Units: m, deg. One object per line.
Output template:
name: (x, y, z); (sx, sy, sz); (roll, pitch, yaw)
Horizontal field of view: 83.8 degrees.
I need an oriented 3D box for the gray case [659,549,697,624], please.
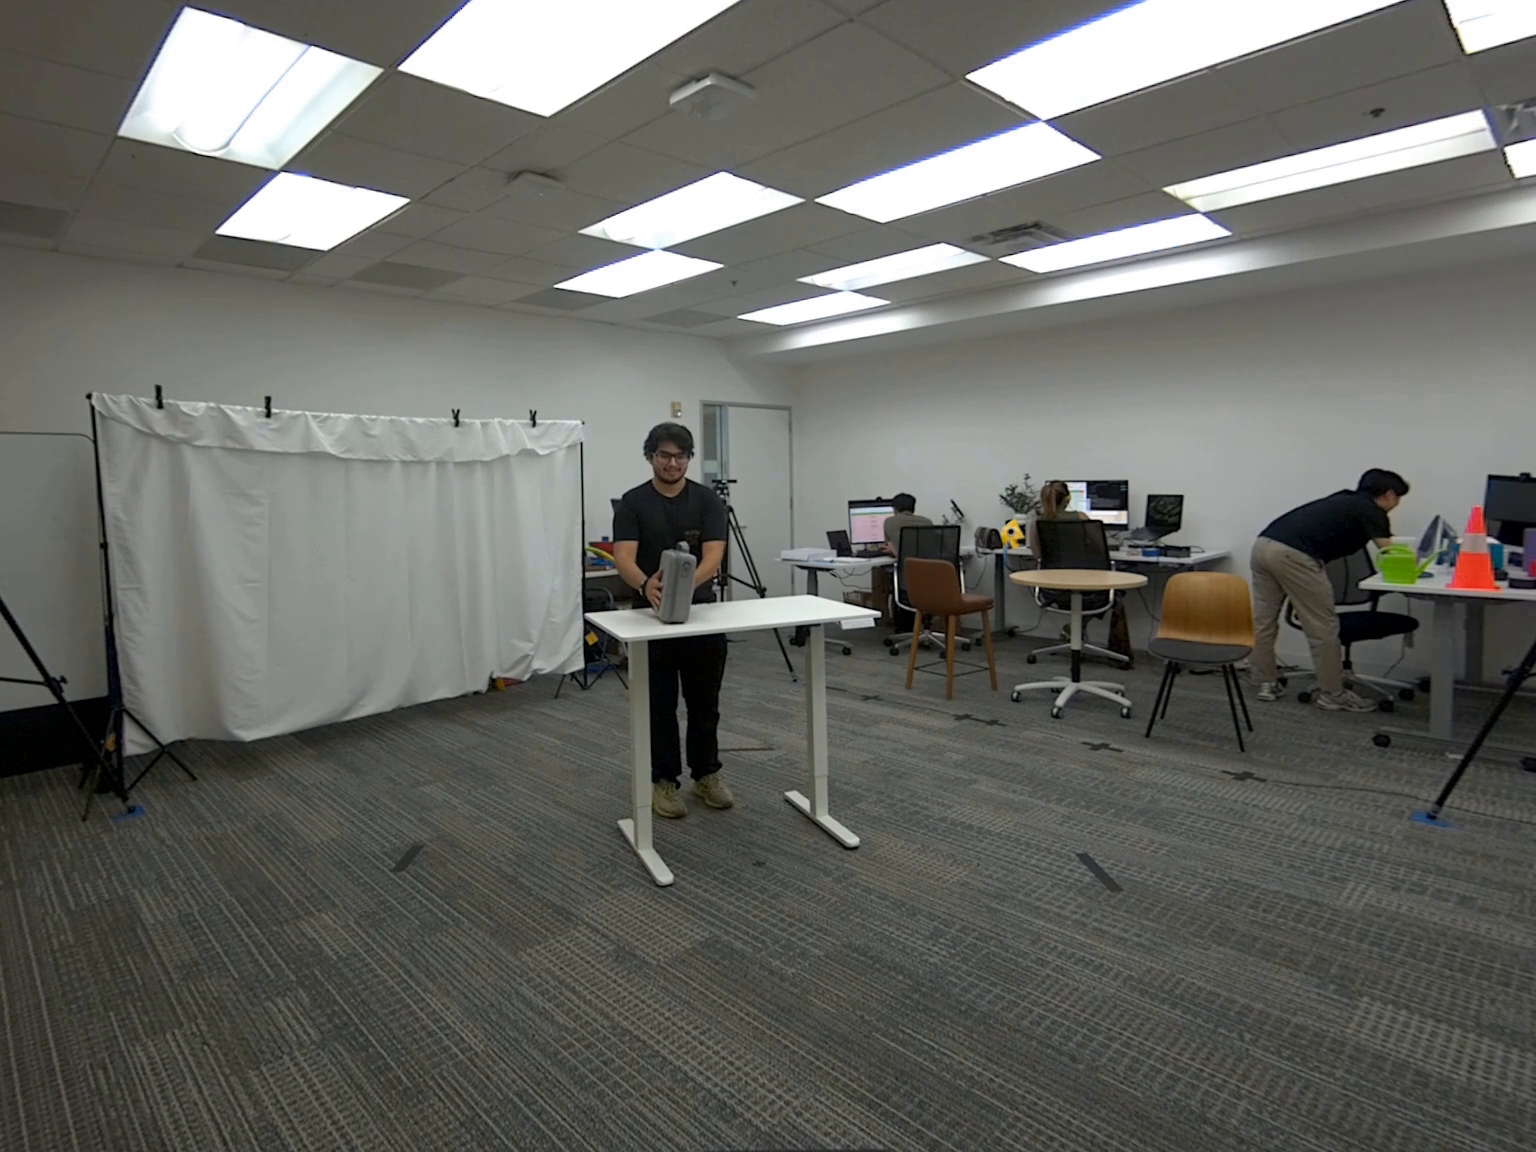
gray case: (-0.352, 0.033, 3.184); (0.103, 0.260, 0.259); (5, 3, -8)
